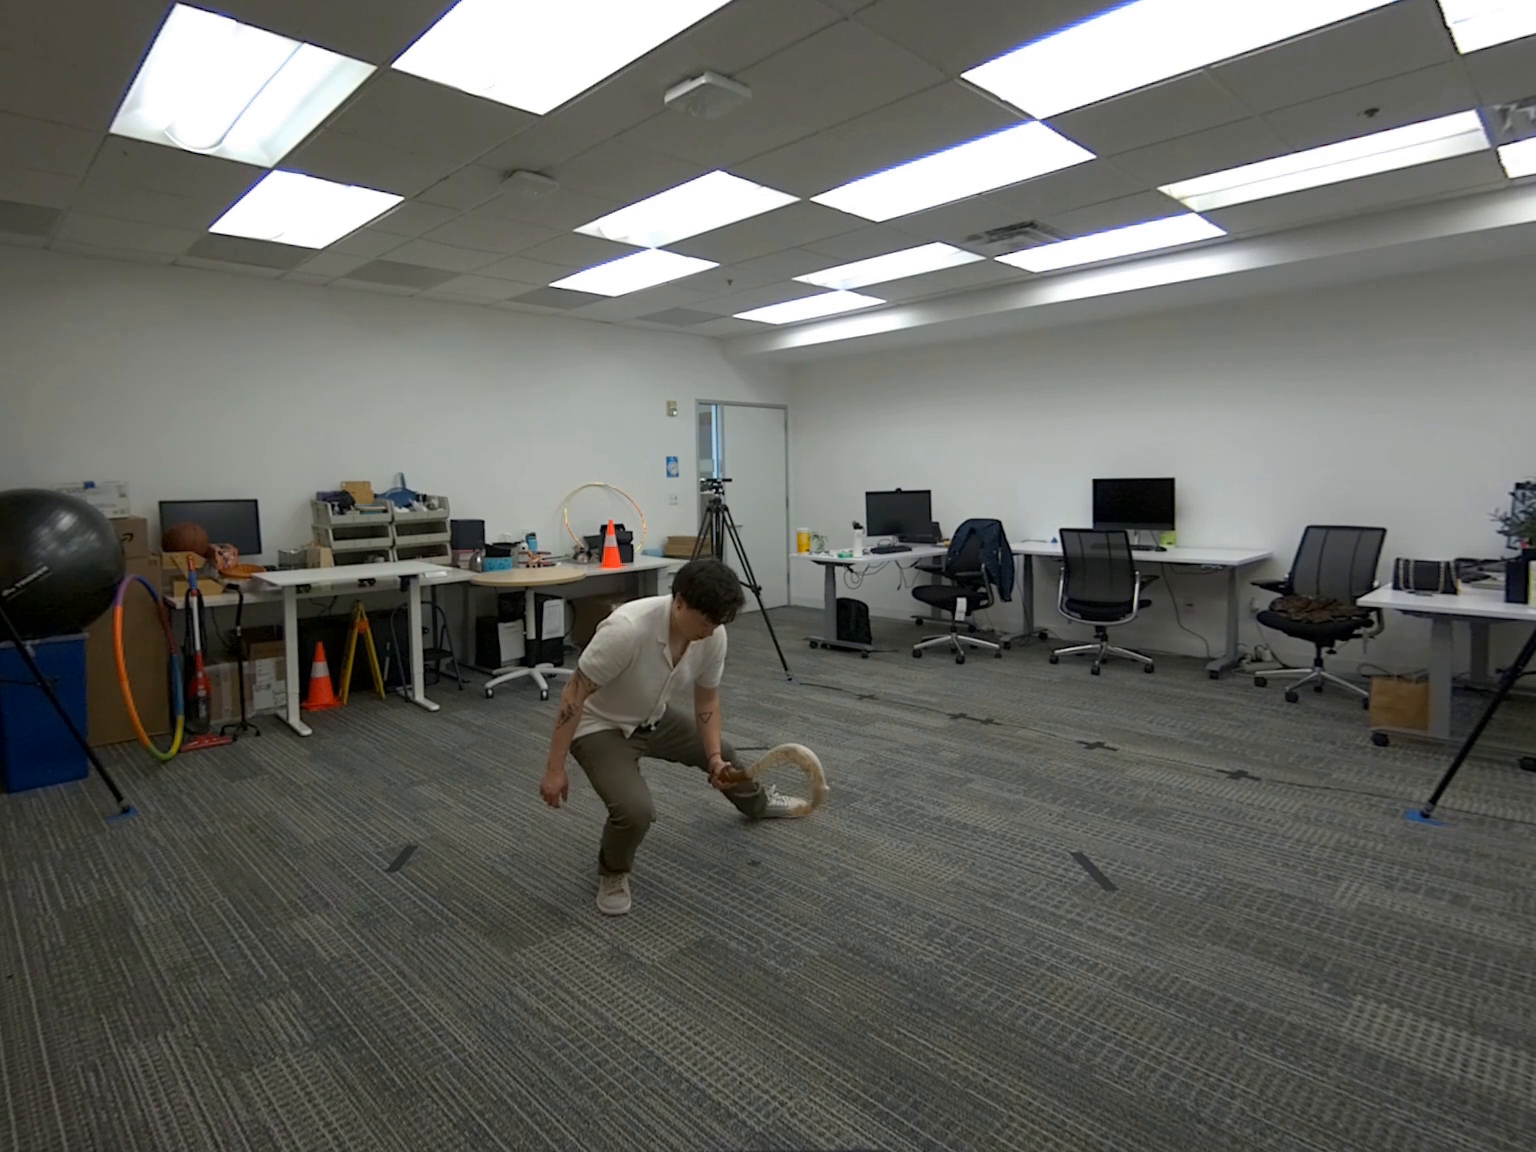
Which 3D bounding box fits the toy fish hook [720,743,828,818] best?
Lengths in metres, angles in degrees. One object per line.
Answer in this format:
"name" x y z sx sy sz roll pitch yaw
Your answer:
"toy fish hook" -0.007 0.659 2.718 0.047 0.227 0.514 -6 -13 -46
